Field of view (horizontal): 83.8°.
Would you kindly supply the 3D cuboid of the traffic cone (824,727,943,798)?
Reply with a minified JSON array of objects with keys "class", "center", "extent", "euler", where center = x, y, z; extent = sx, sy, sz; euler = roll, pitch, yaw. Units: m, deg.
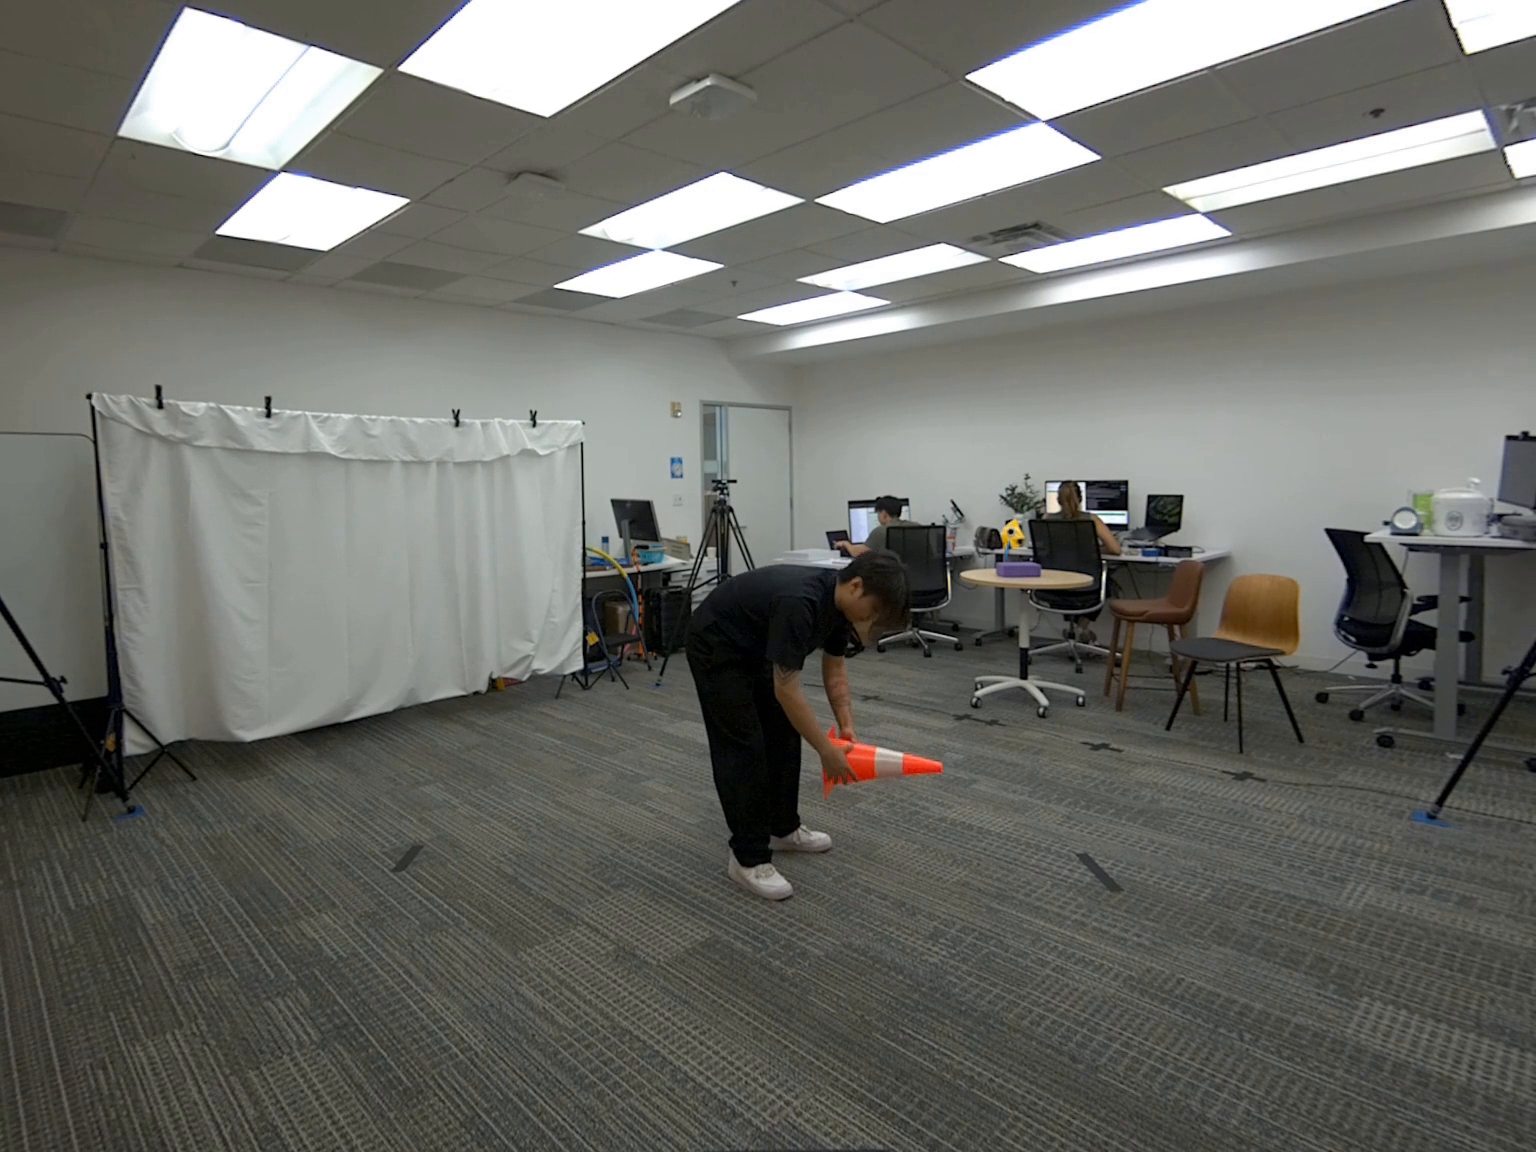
[{"class":"traffic cone","center":[0.383,0.637,2.879],"extent":[0.391,0.203,0.201],"euler":[0,10,21]}]
